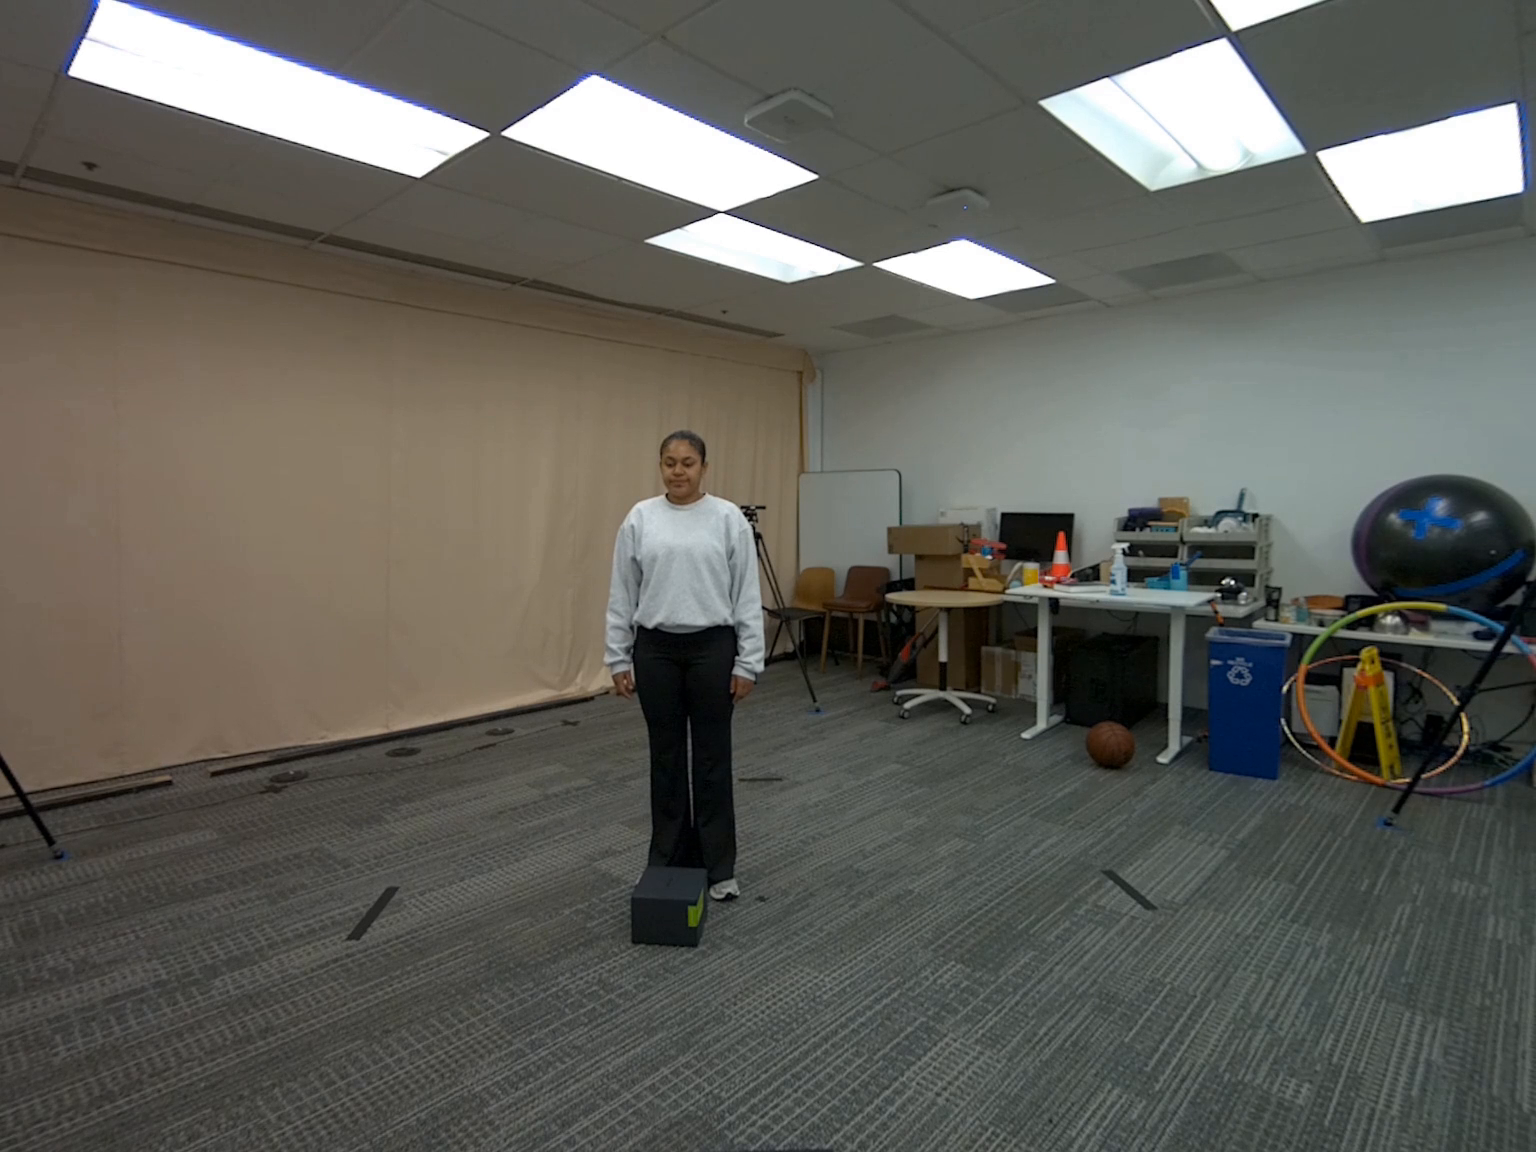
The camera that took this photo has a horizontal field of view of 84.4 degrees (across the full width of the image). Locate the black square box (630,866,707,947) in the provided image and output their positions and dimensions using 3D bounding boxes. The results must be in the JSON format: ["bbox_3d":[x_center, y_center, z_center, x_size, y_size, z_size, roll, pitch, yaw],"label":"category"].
[{"bbox_3d":[-0.321,1.071,2.771,0.219,0.155,0.227,0,4,6],"label":"black square box"}]
